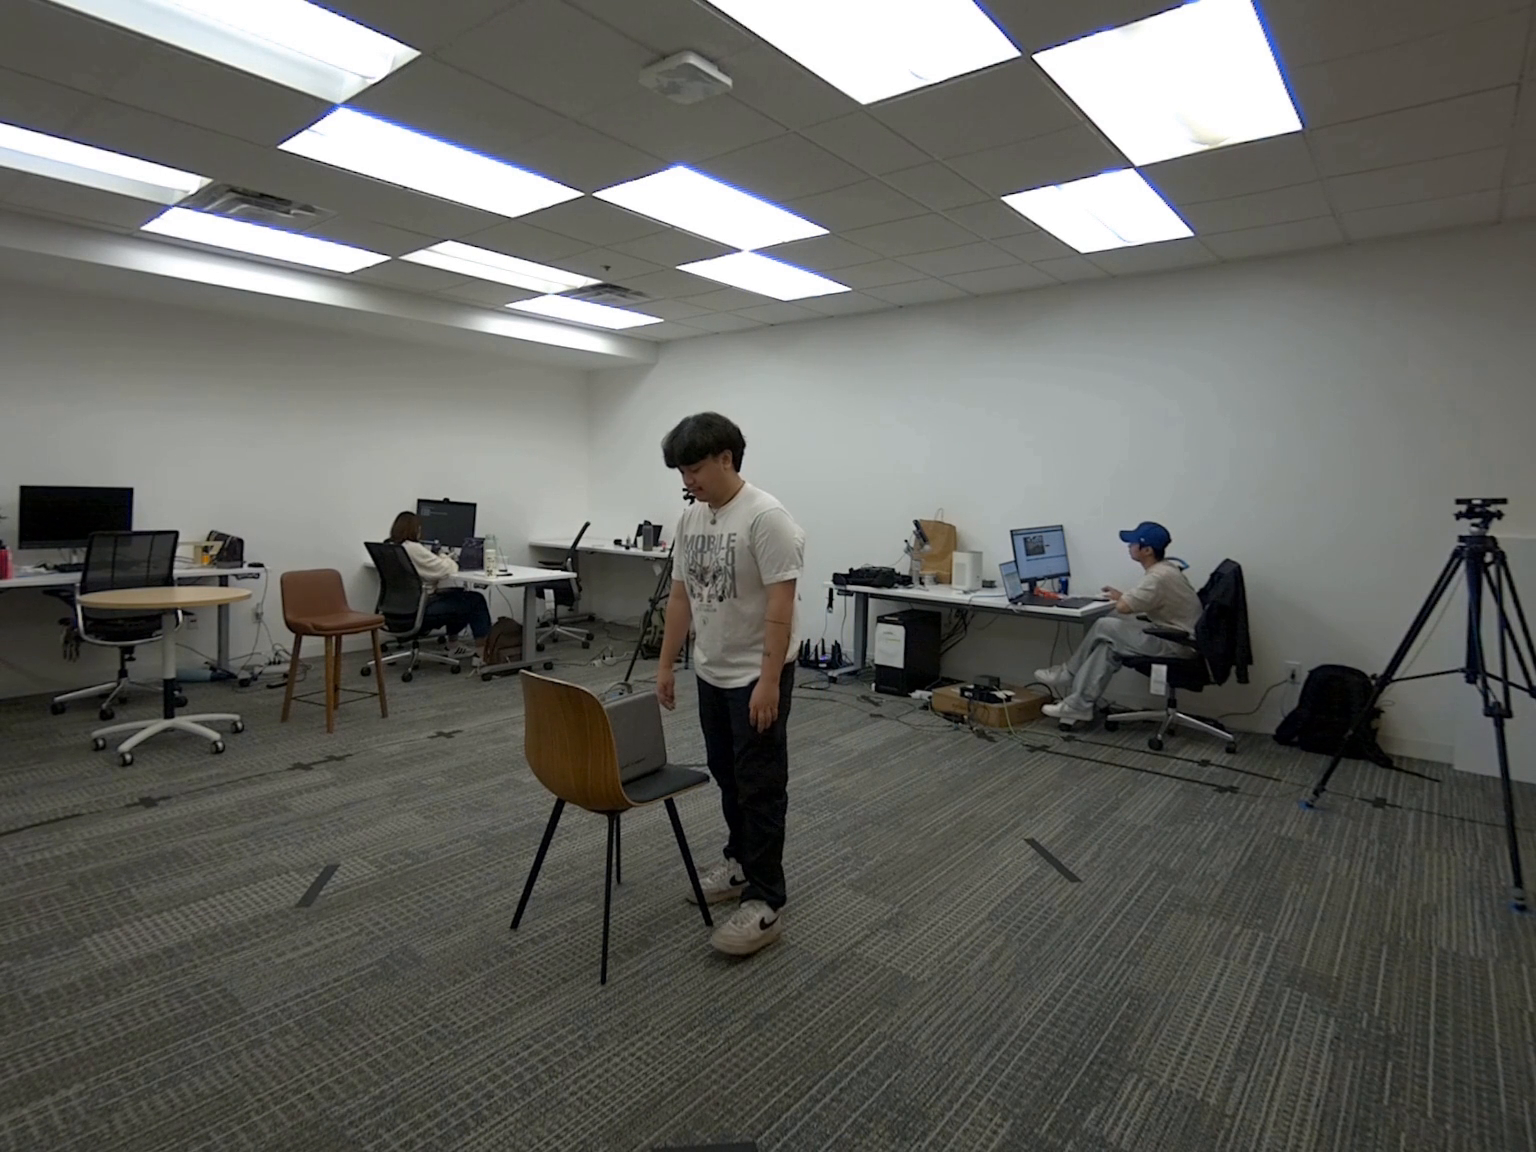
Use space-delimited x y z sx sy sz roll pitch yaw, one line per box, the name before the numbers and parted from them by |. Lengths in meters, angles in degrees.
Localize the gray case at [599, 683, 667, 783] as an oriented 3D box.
gray case | -0.458 0.503 2.686 0.107 0.261 0.250 -10 0 43
